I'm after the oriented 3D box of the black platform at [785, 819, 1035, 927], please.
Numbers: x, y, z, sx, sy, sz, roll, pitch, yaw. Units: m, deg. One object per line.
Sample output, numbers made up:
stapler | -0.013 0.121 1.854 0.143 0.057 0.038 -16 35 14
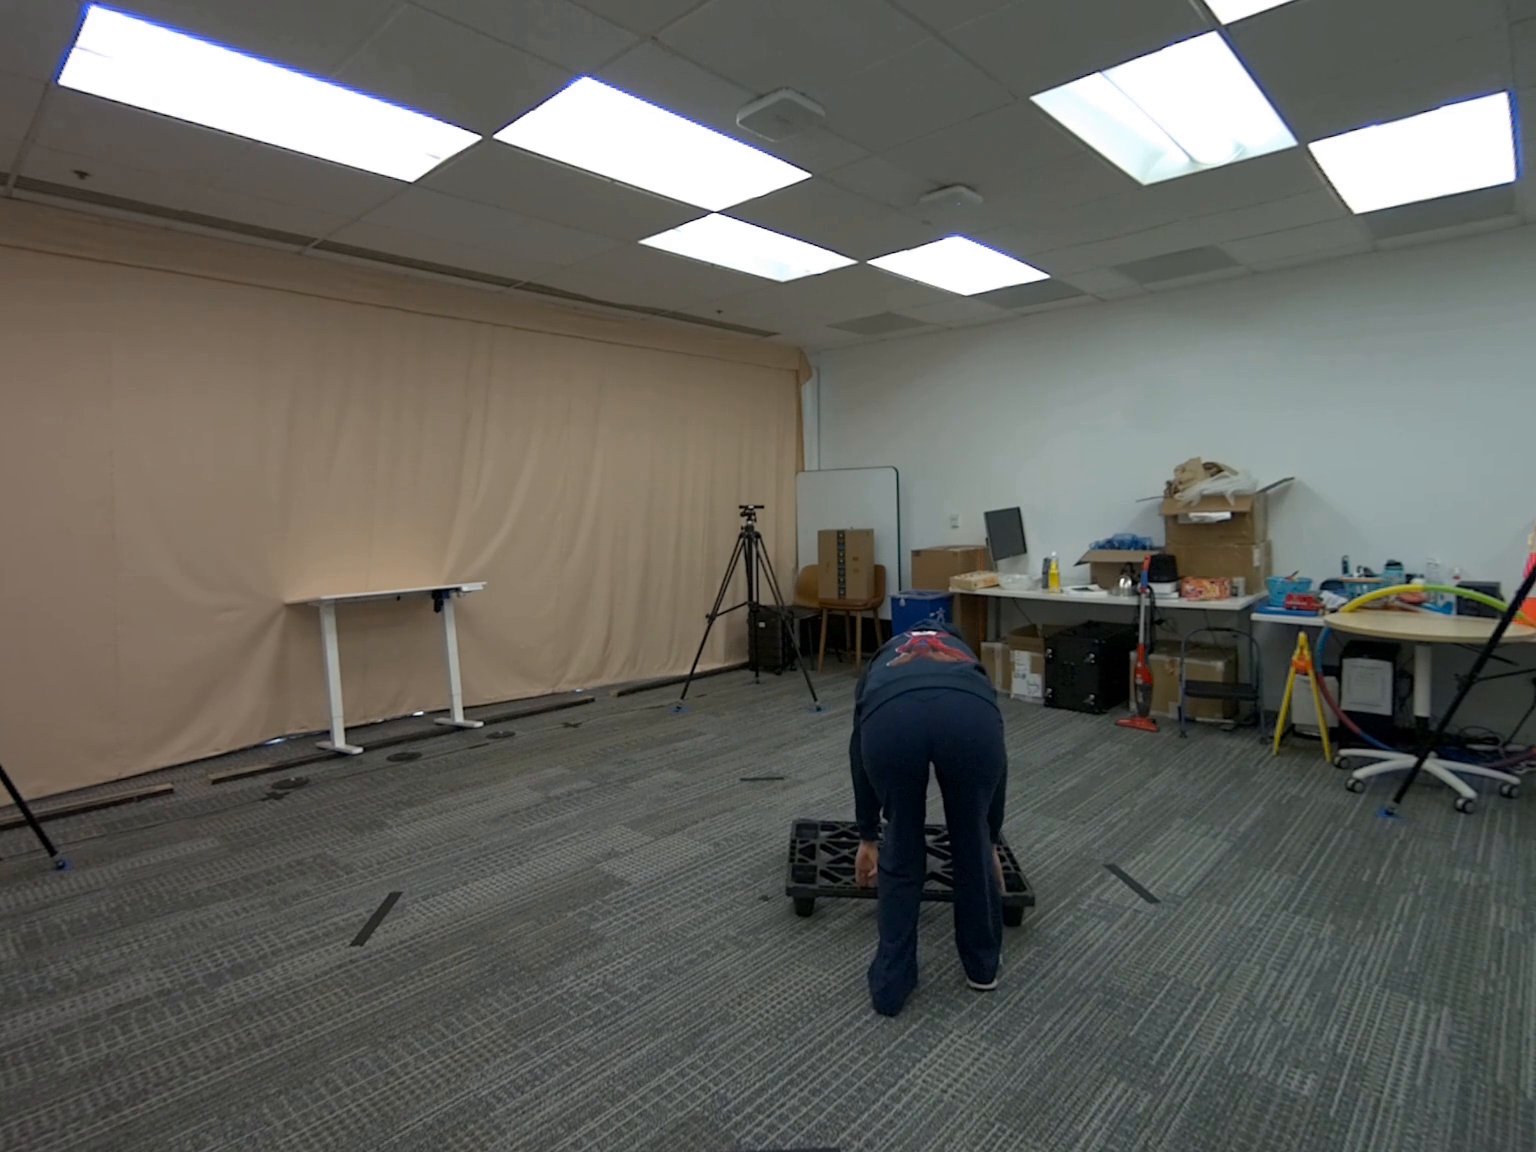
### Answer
black platform | 0.484 1.062 3.015 0.812 0.143 0.602 -1 6 6
